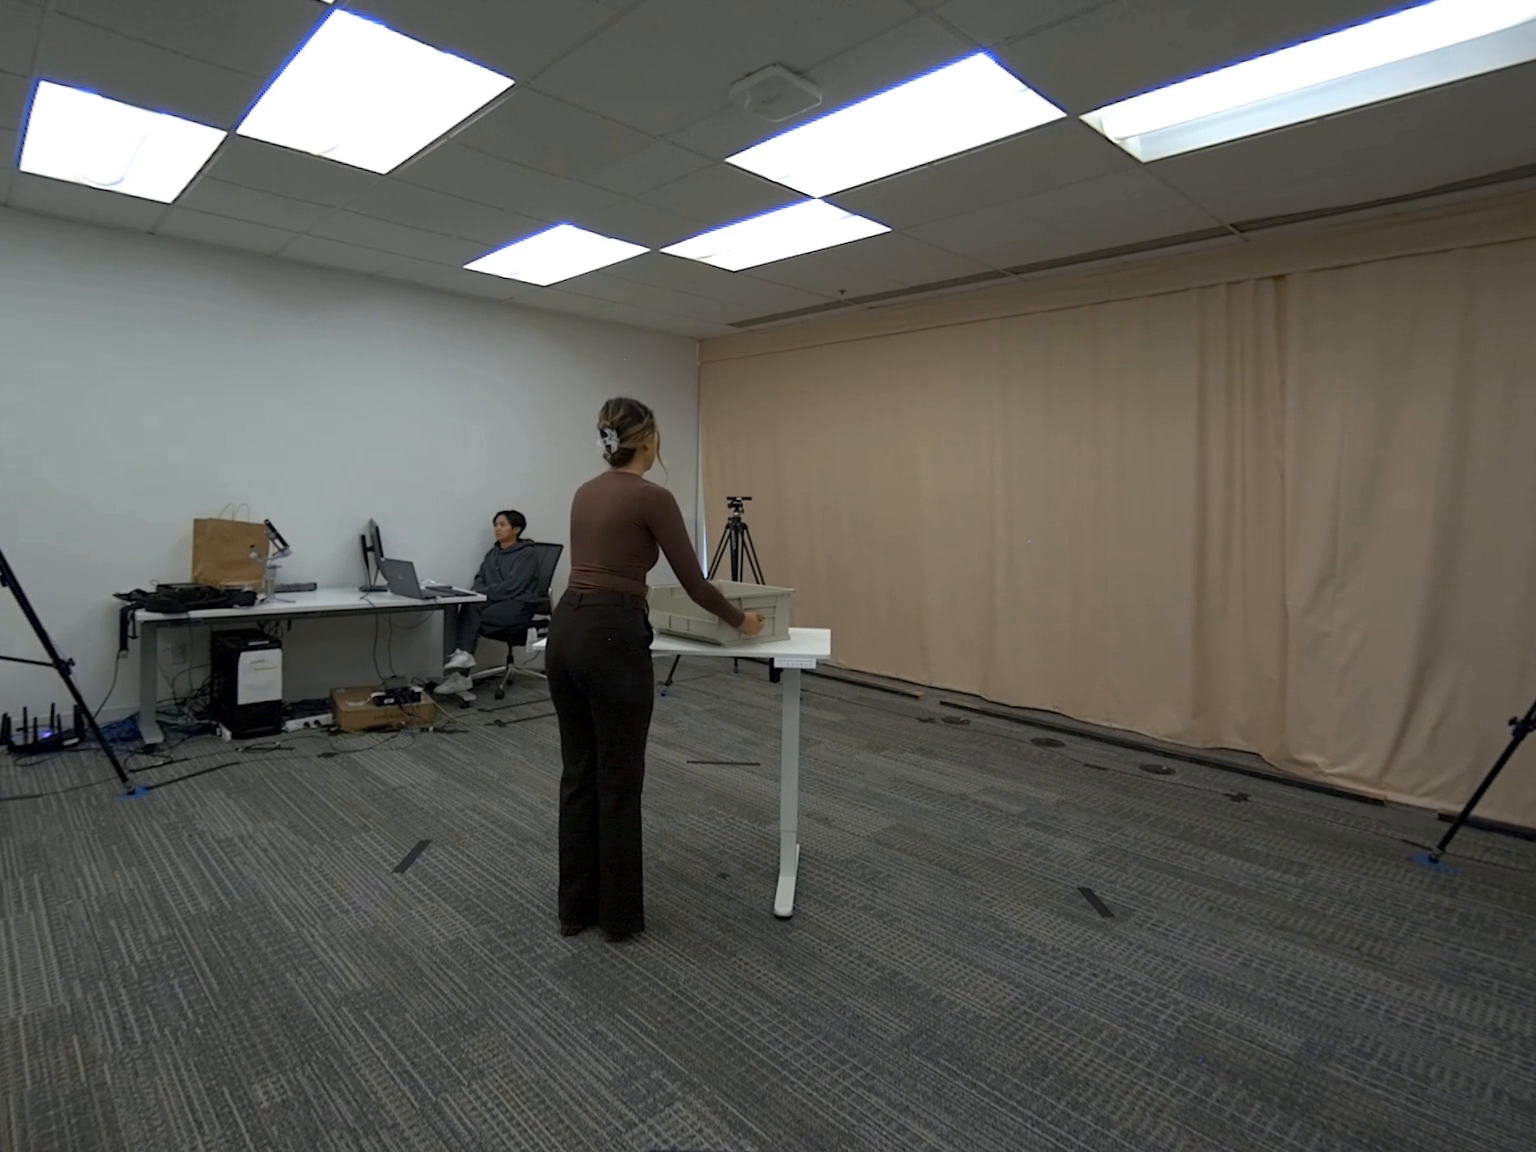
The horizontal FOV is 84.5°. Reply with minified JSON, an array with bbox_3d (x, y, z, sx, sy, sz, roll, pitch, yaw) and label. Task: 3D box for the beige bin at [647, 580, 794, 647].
[{"bbox_3d":[-0.189,0.135,3.071,0.368,0.188,0.433,-2,5,-44],"label":"beige bin"}]
